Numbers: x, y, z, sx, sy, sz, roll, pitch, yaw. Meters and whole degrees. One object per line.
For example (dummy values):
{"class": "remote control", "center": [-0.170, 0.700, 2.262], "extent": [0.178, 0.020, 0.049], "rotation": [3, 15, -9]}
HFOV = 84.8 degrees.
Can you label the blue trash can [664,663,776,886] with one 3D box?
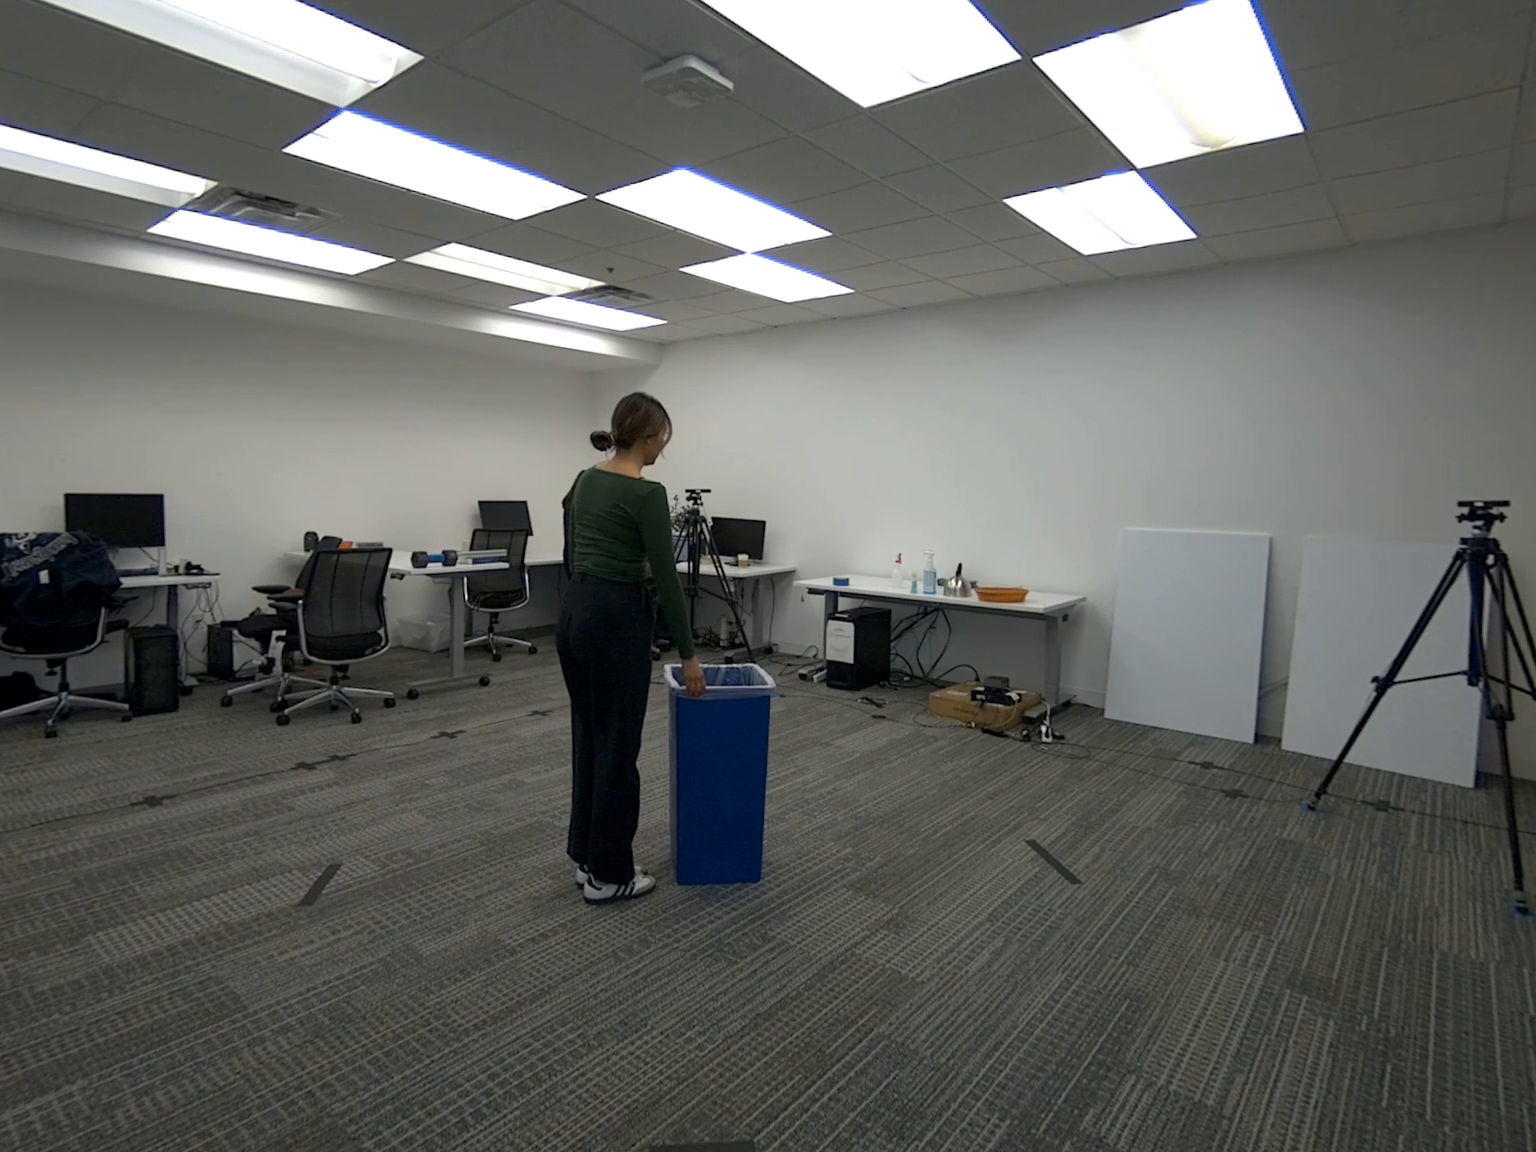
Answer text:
{"class": "blue trash can", "center": [-0.198, 0.715, 3.136], "extent": [0.370, 0.711, 0.383], "rotation": [-1, 4, -10]}
